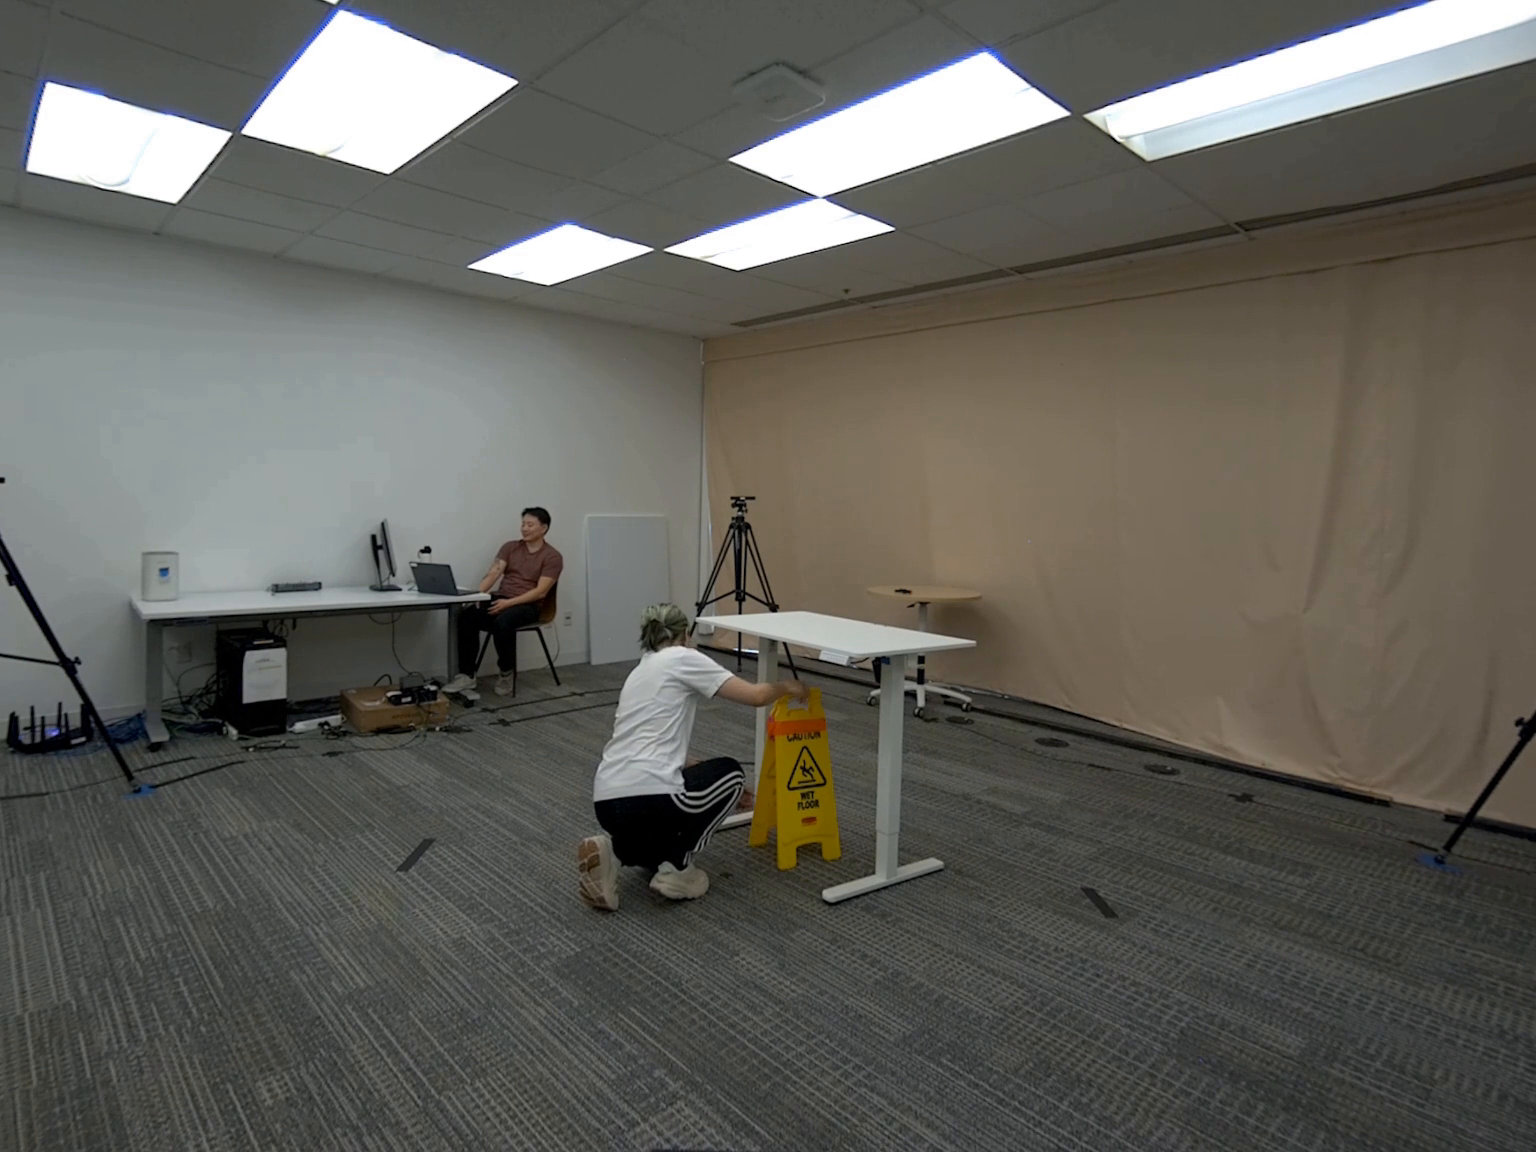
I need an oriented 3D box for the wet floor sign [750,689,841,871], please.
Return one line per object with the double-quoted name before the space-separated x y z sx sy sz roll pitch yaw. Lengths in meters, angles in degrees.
"wet floor sign" 0.108 0.767 3.307 0.277 0.644 0.296 0 4 -28
